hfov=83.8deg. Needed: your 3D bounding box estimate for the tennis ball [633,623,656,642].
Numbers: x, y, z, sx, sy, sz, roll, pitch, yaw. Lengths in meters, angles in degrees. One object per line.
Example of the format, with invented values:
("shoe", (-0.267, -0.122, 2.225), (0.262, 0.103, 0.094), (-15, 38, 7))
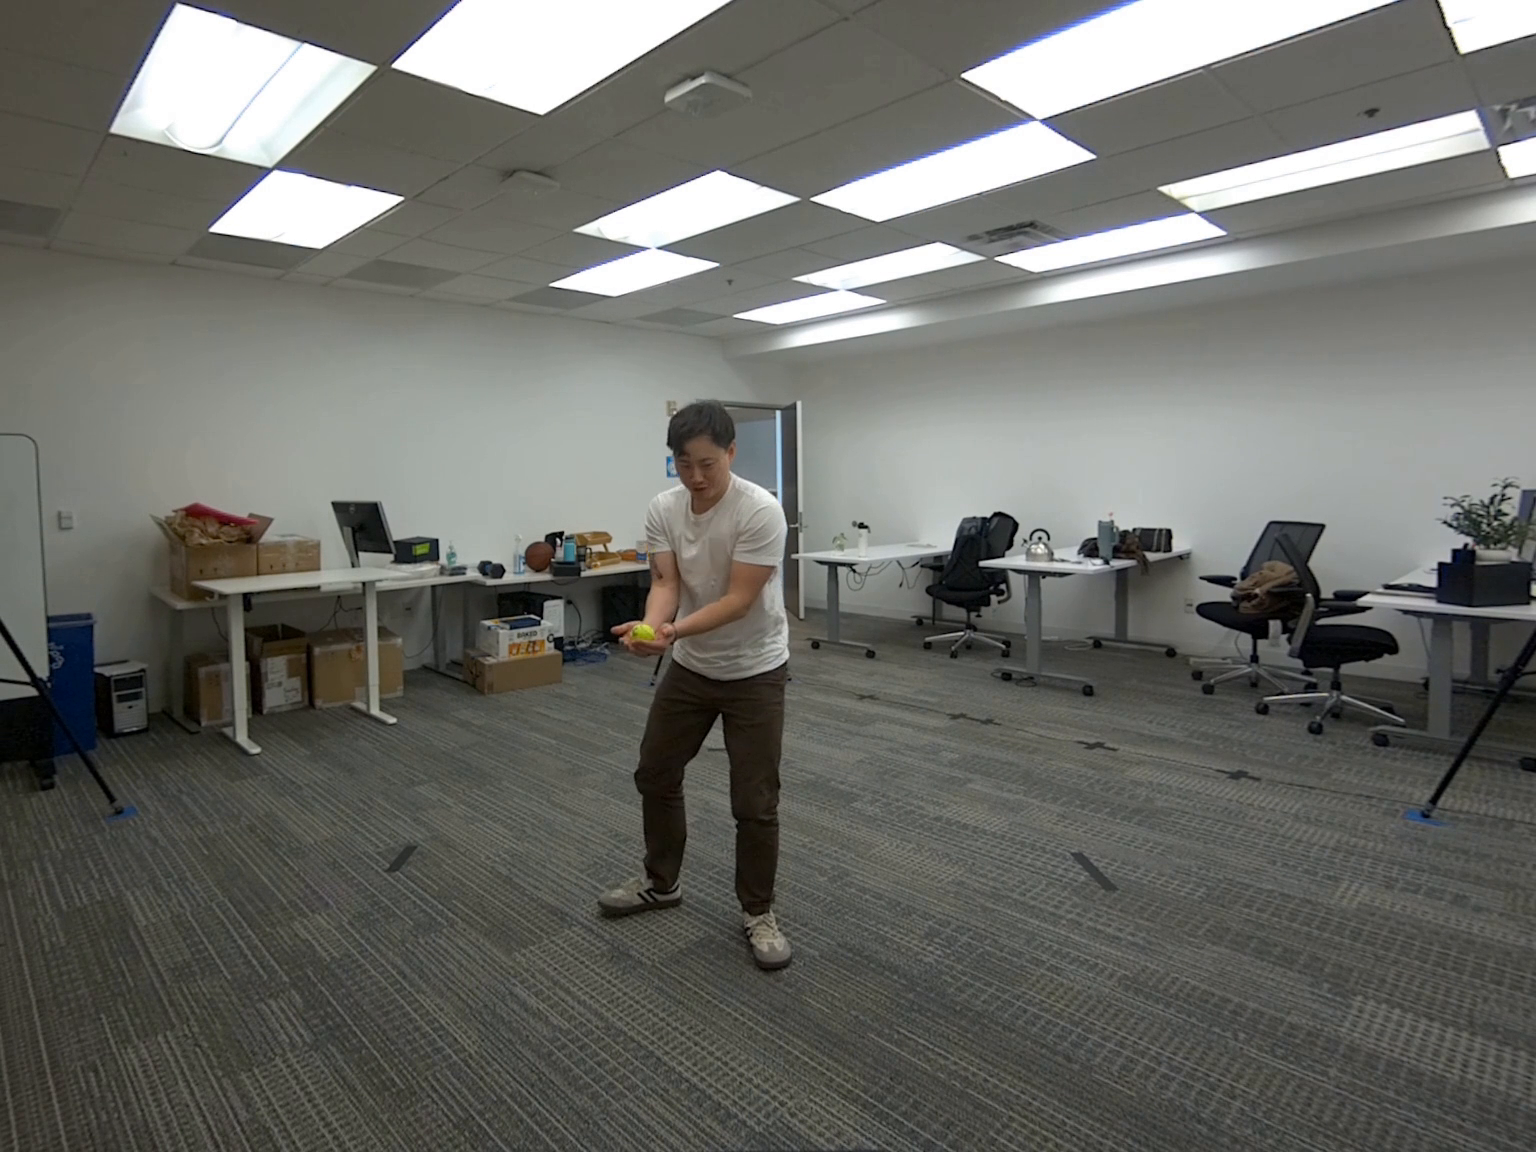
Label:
("tennis ball", (-0.301, 0.146, 2.283), (0.066, 0.066, 0.067), (-1, 5, -2))
